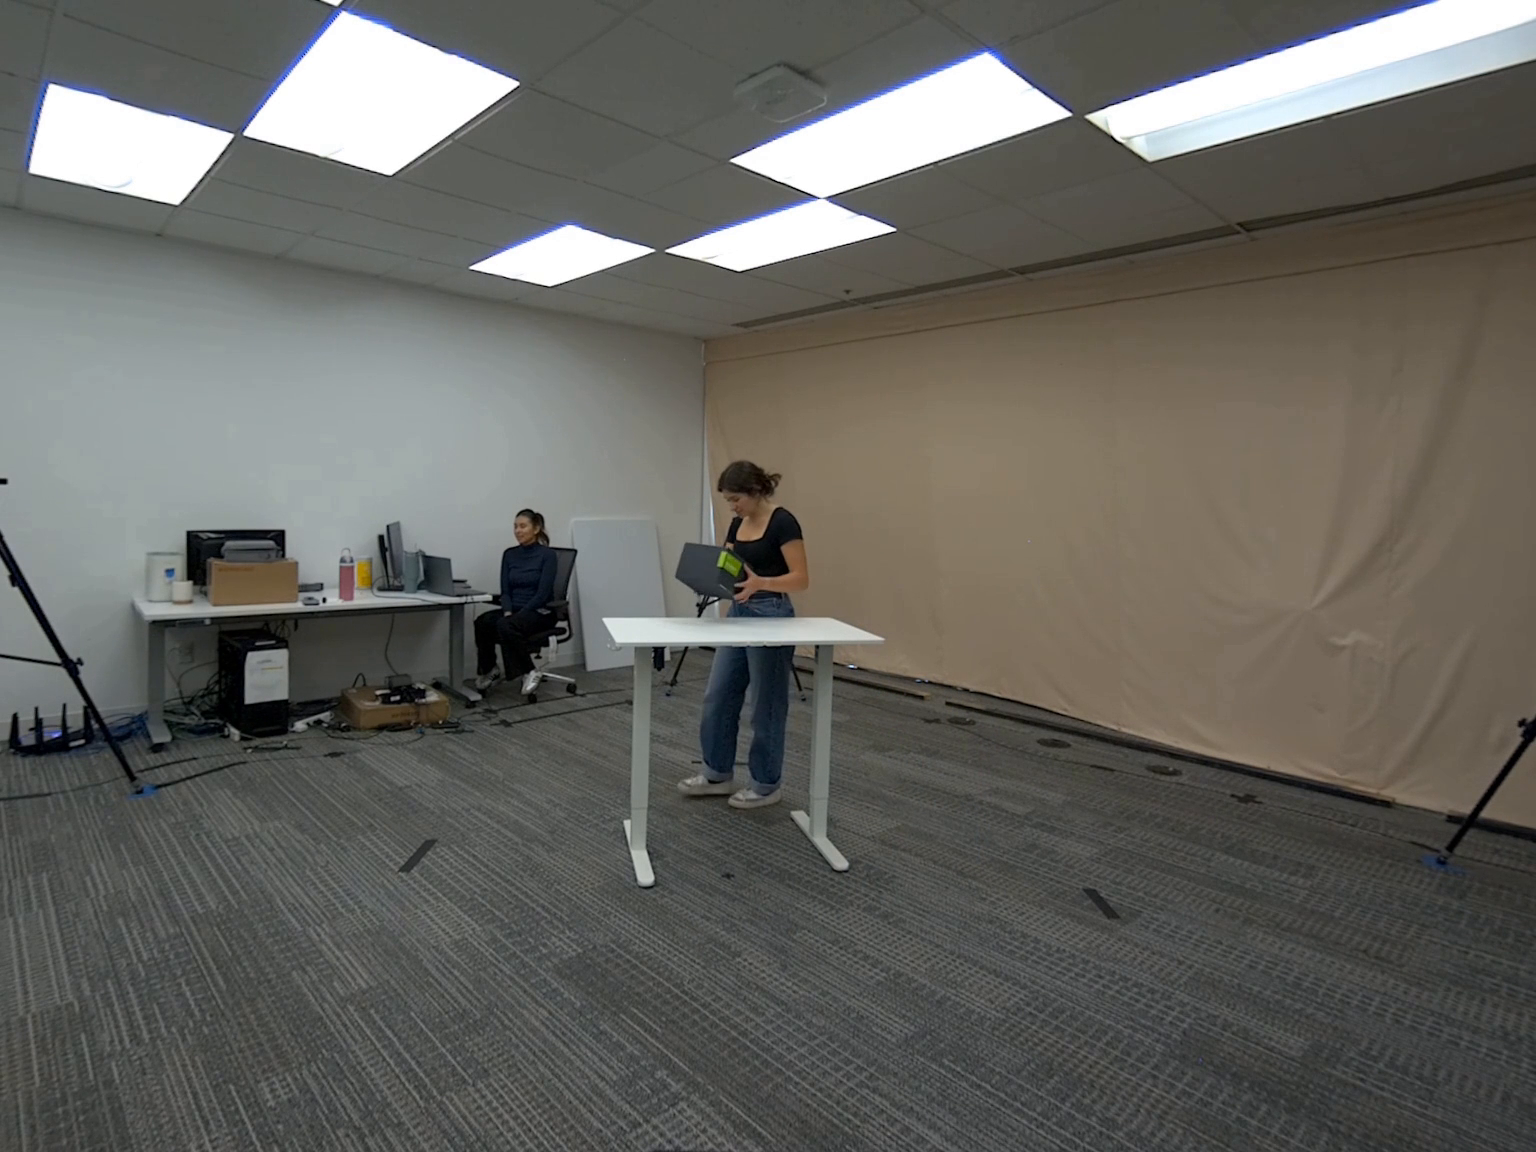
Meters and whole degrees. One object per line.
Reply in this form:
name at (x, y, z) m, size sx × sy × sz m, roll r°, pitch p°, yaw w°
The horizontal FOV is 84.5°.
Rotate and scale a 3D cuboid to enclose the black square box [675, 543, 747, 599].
black square box at (-0.235, -0.014, 3.486) m, size 0.222 × 0.157 × 0.221 m, roll 8°, pitch -18°, yaw 29°
